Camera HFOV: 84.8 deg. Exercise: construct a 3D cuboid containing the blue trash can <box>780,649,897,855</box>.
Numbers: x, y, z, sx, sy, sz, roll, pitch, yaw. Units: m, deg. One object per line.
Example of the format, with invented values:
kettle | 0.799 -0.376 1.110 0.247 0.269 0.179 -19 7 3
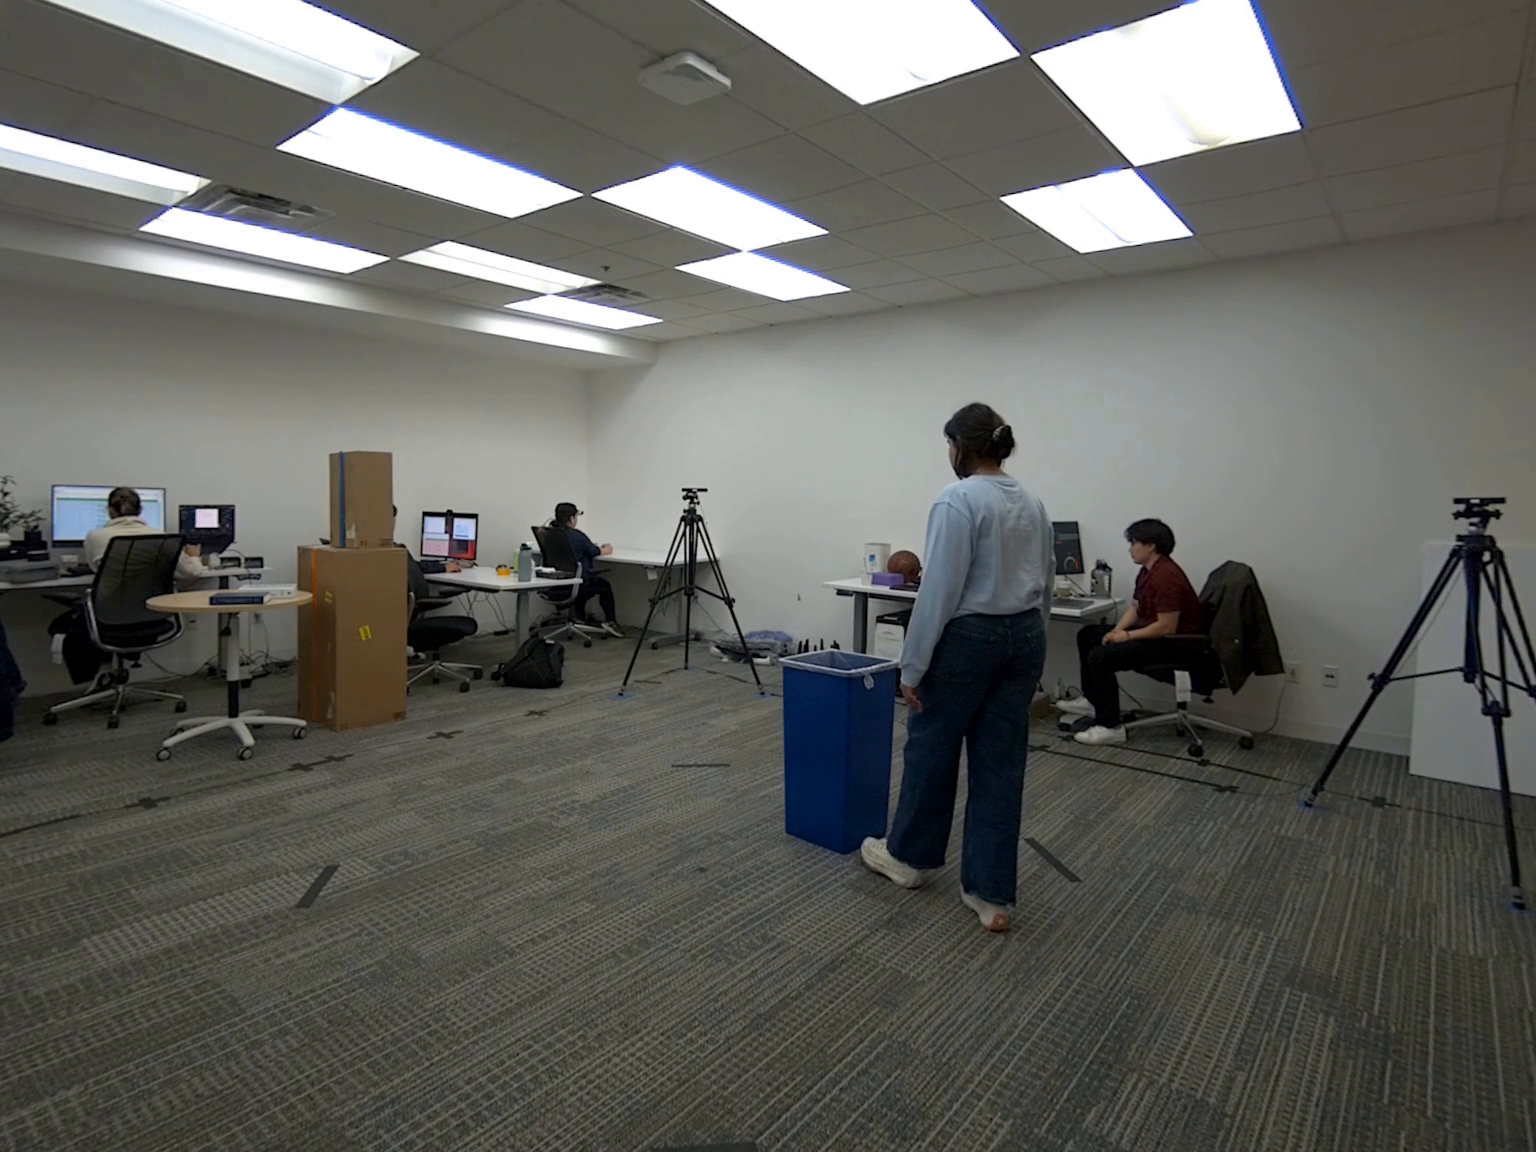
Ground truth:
blue trash can | 0.266 0.688 3.455 0.387 0.712 0.366 4 4 43
